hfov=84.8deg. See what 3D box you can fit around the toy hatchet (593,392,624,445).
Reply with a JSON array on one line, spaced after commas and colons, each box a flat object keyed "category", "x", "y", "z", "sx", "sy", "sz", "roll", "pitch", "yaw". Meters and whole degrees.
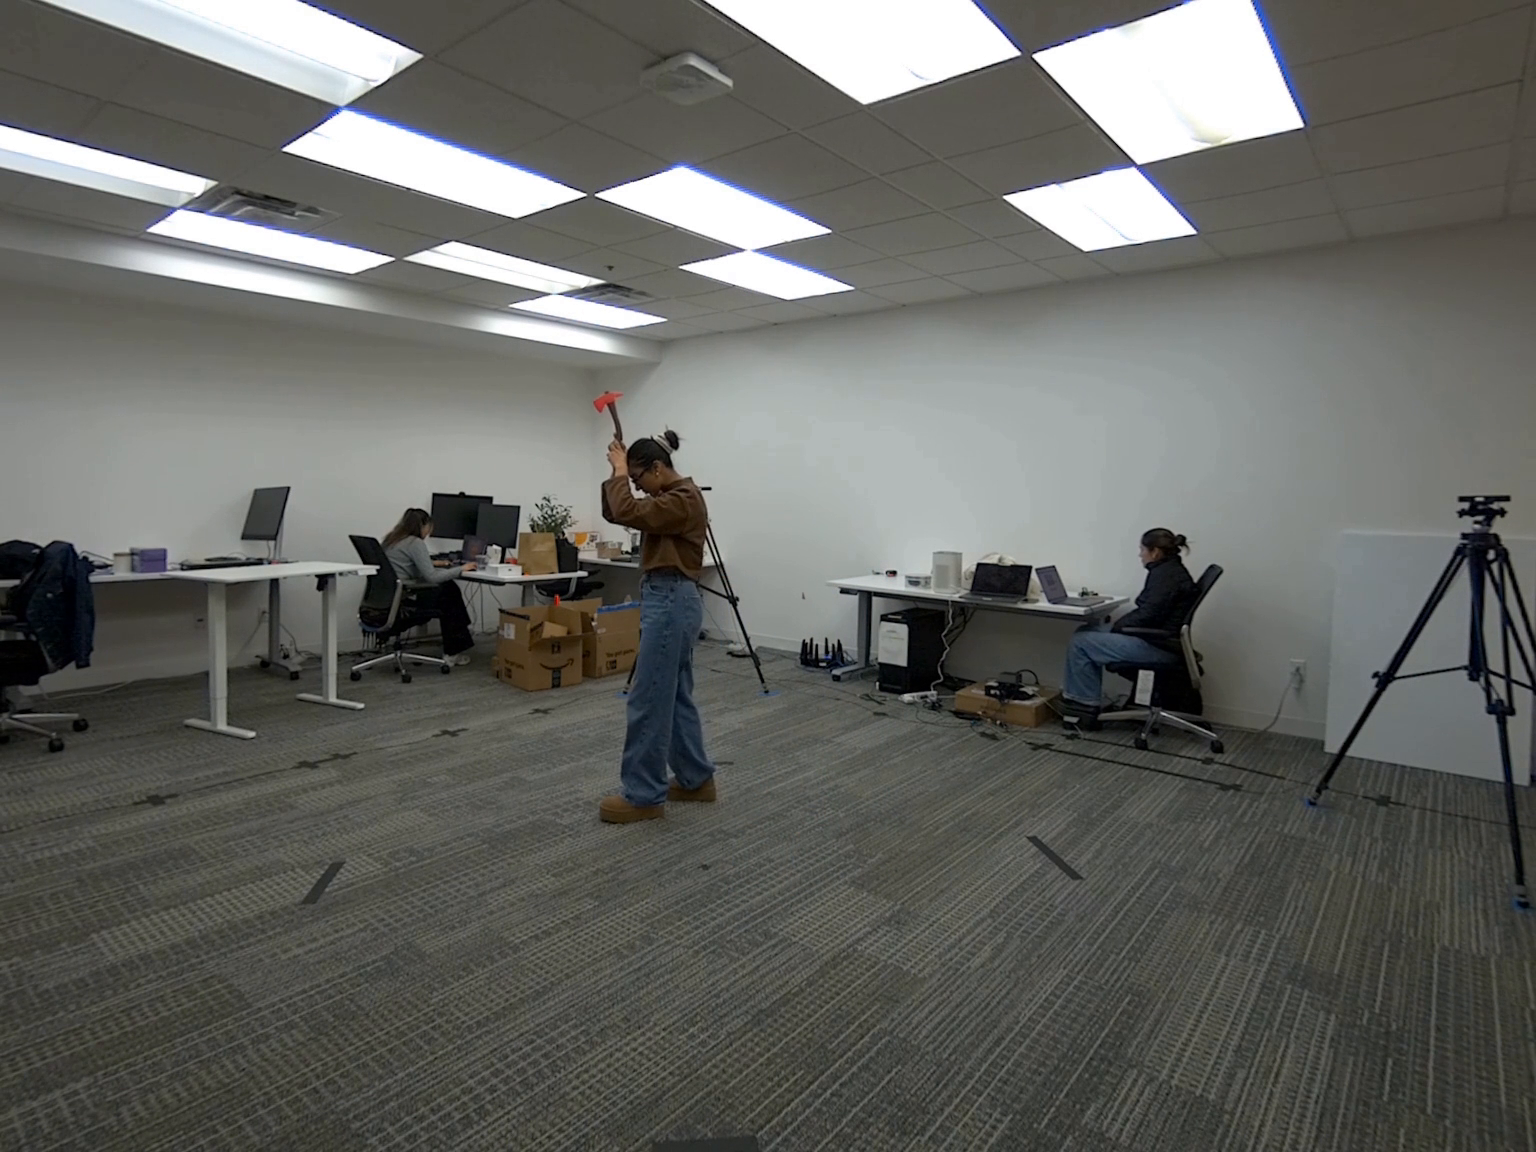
[{"category": "toy hatchet", "x": -0.690, "y": -0.662, "z": 3.627, "sx": 0.129, "sy": 0.271, "sz": 0.030, "roll": -2, "pitch": -3, "yaw": -13}]
